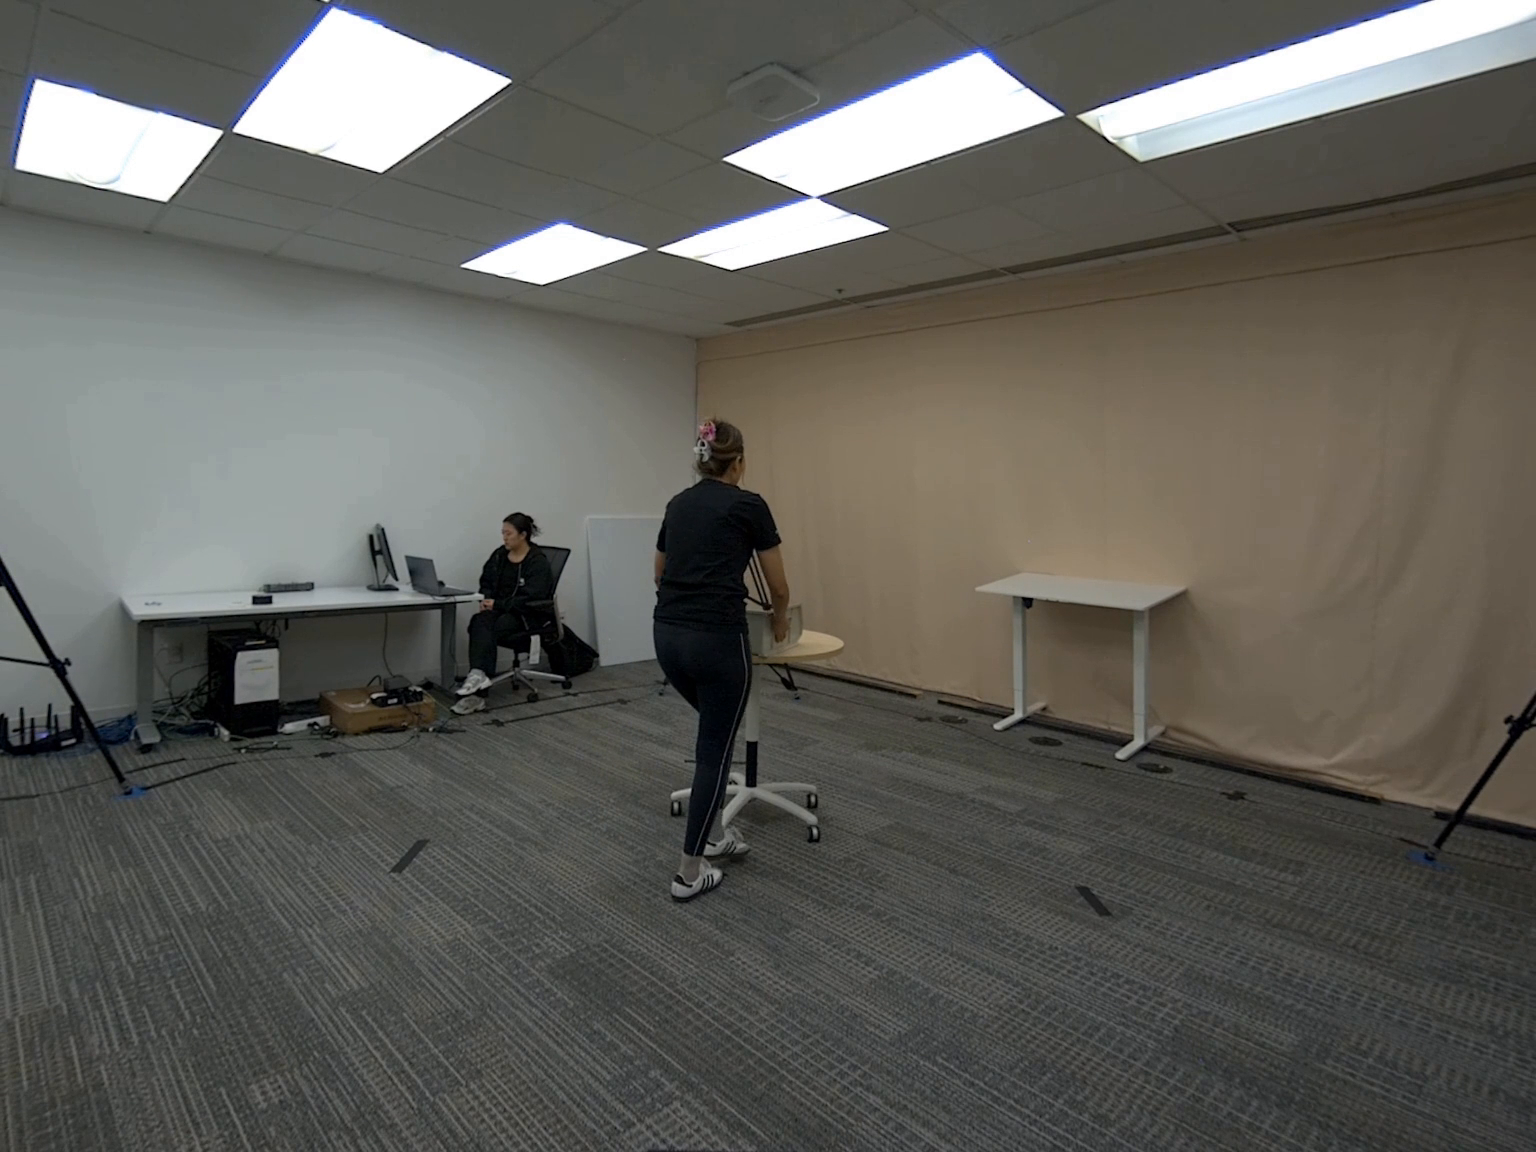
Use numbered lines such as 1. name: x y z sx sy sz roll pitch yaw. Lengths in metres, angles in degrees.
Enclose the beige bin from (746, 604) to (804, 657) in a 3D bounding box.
1. beige bin: -0.124 0.200 3.488 0.431 0.188 0.372 5 8 25
